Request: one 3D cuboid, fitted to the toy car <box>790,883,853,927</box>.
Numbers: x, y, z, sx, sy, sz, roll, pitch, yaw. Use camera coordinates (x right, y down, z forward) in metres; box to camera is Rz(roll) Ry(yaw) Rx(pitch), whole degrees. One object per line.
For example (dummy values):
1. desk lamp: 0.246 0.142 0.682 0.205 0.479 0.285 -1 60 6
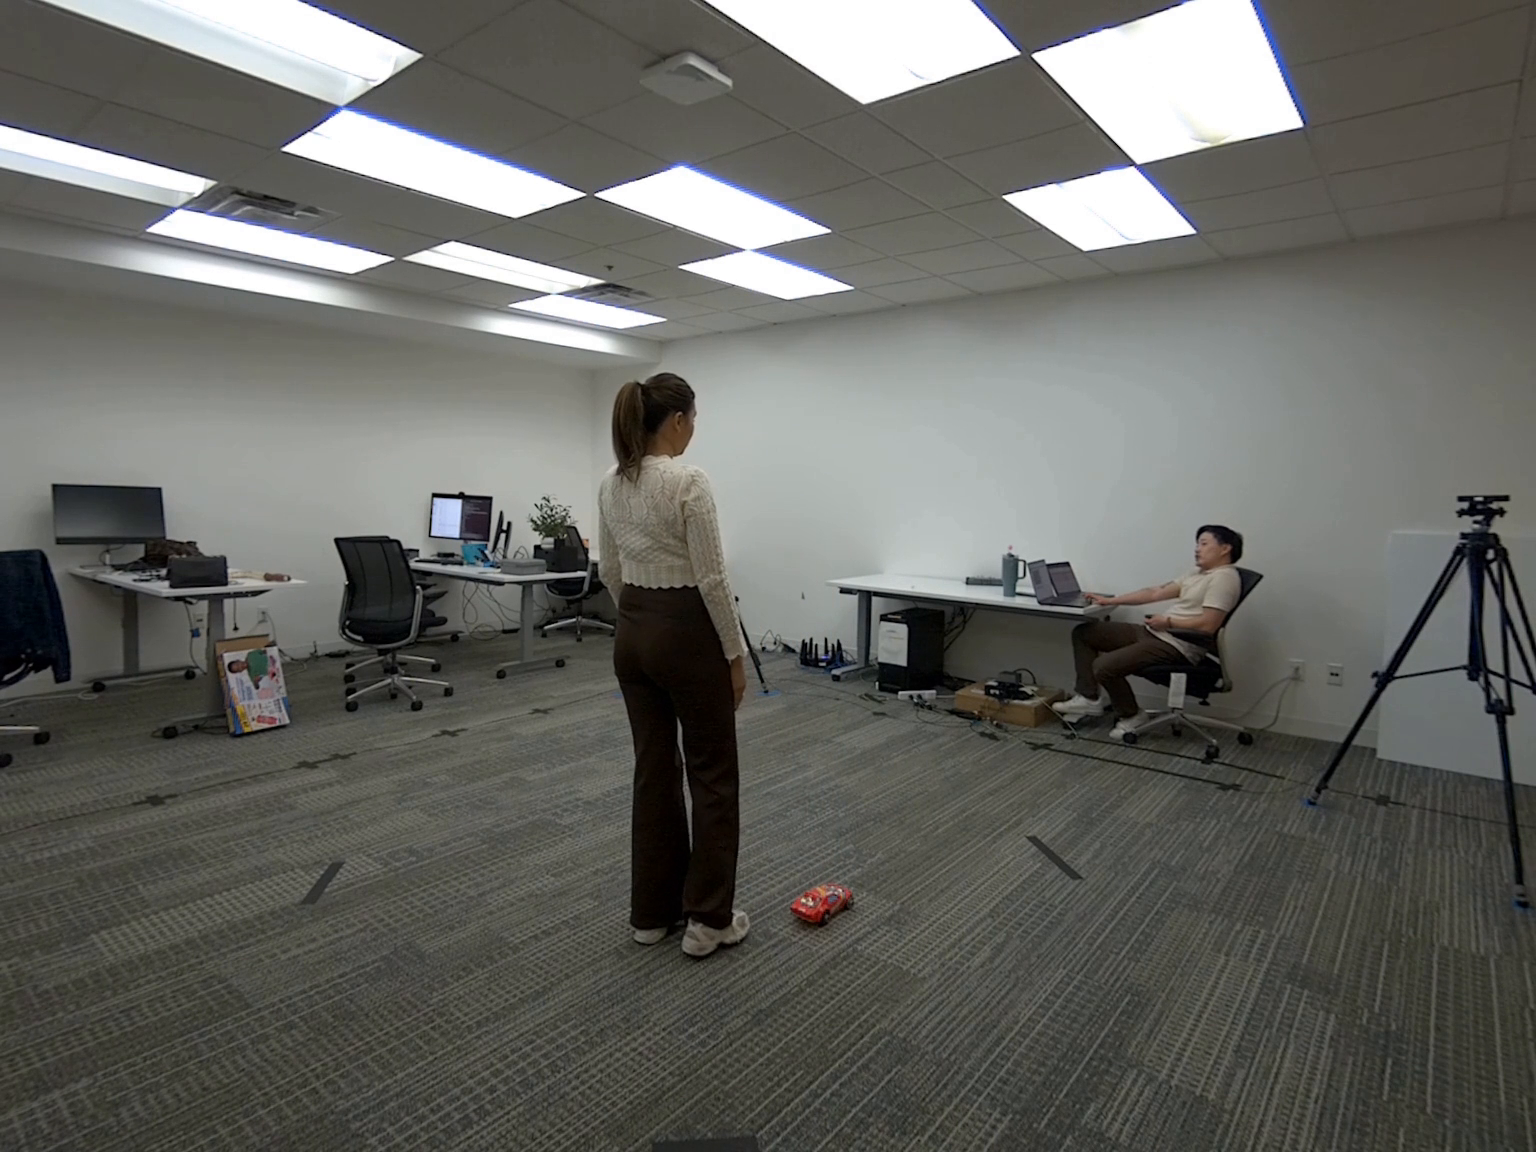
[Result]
1. toy car: 0.165 1.073 2.796 0.135 0.083 0.245 6 -3 40
